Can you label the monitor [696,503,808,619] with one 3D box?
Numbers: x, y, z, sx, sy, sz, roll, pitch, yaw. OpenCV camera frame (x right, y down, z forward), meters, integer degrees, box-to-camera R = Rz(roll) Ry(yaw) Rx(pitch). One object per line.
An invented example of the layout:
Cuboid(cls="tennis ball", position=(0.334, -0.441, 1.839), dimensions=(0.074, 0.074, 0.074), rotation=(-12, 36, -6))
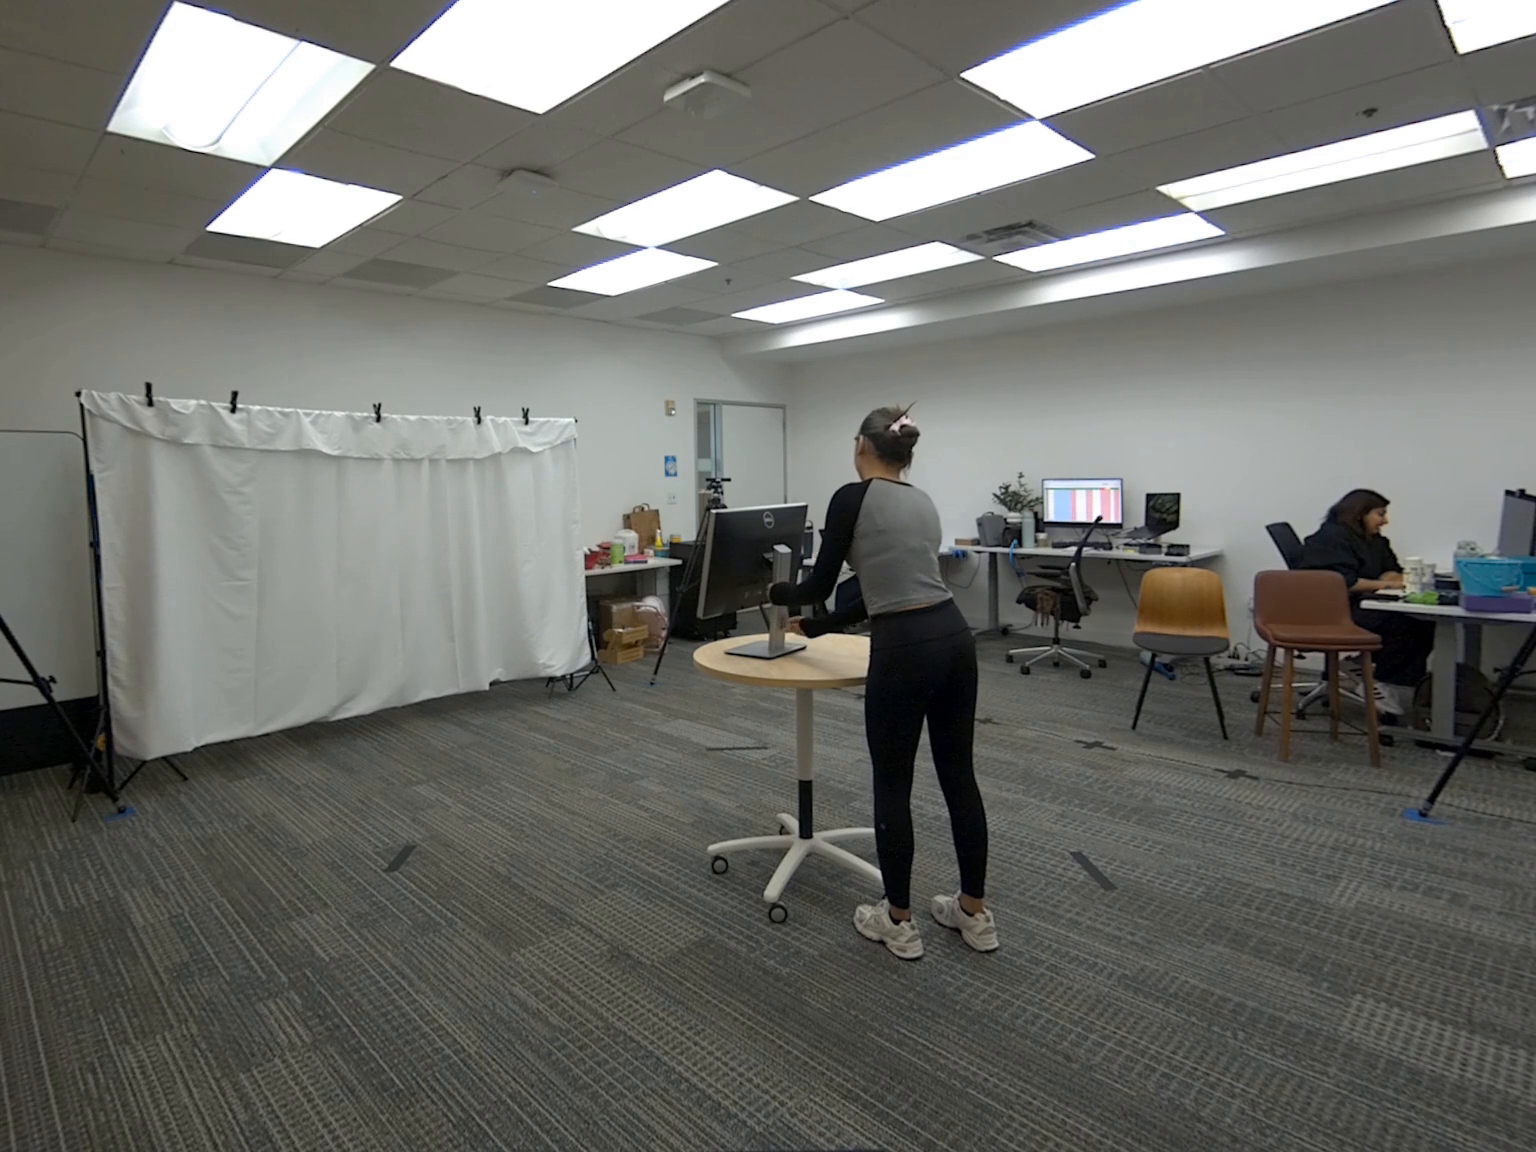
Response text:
Cuboid(cls="monitor", position=(-0.009, 0.020, 2.975), dimensions=(0.192, 0.521, 0.526), rotation=(-2, 3, 35))
